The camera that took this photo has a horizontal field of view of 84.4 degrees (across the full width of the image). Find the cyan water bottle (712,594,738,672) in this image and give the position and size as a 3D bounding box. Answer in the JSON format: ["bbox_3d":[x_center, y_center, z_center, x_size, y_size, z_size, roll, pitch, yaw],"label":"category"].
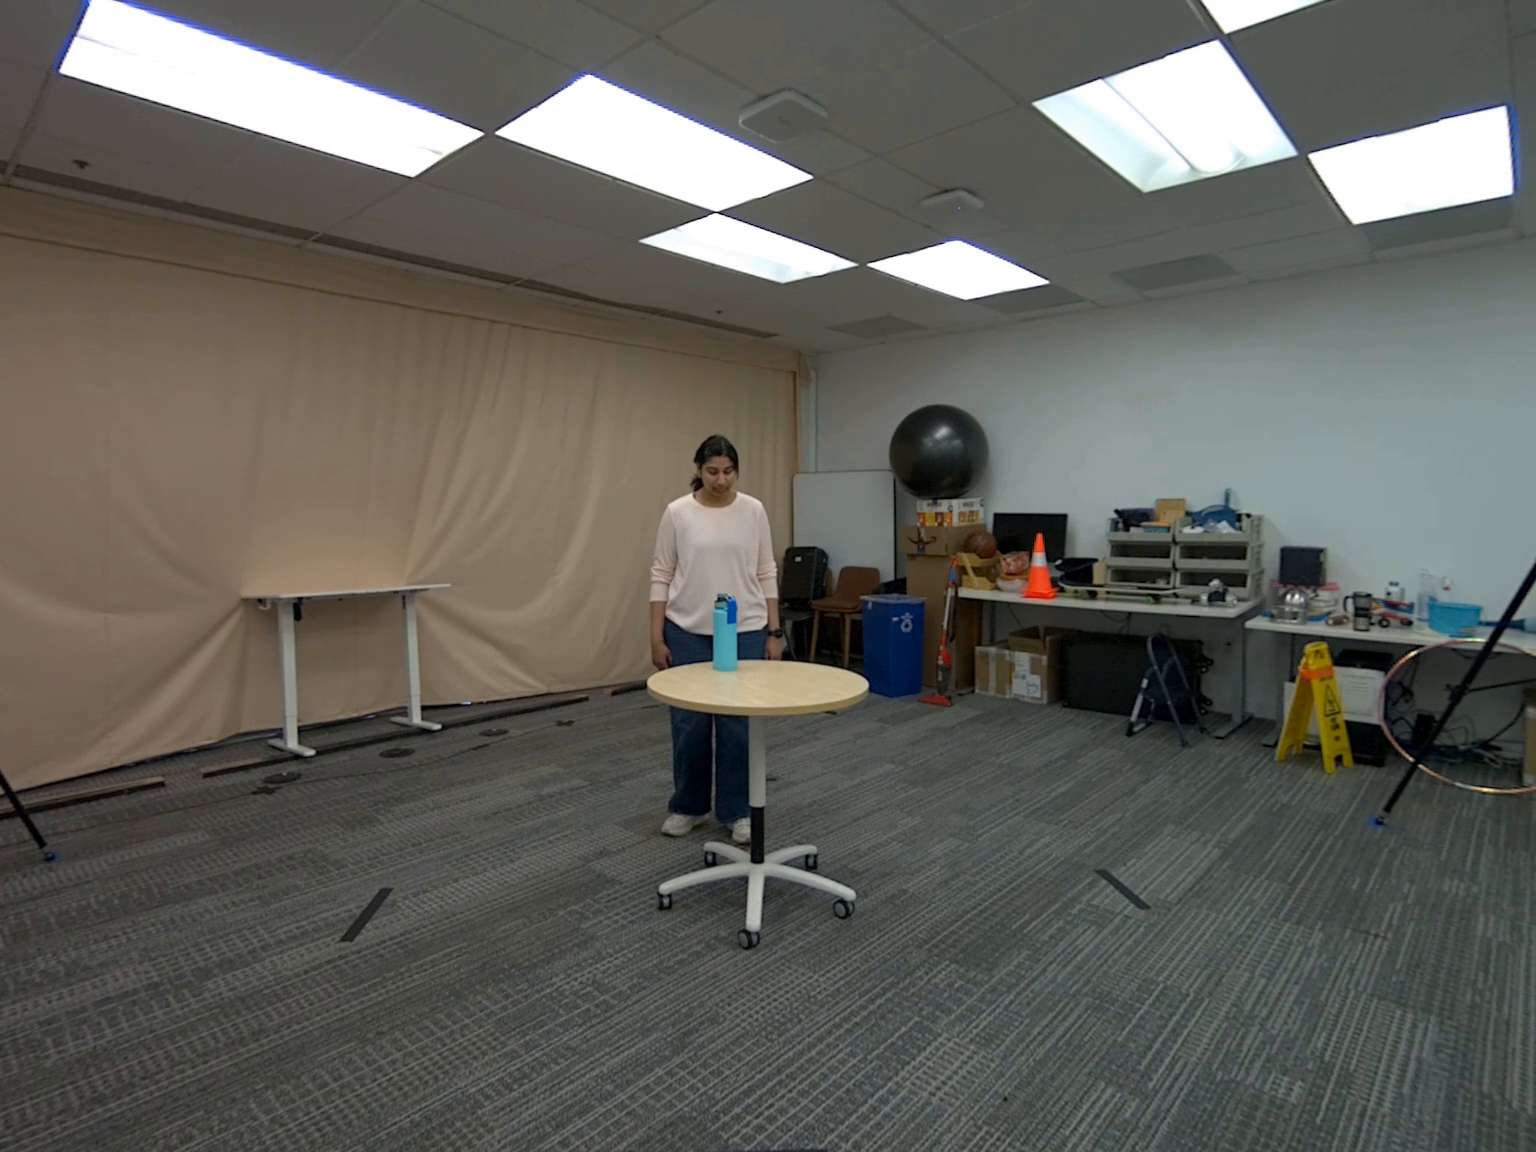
[{"bbox_3d":[-0.159,0.206,3.133,0.092,0.283,0.092,0,3,-2],"label":"cyan water bottle"}]
